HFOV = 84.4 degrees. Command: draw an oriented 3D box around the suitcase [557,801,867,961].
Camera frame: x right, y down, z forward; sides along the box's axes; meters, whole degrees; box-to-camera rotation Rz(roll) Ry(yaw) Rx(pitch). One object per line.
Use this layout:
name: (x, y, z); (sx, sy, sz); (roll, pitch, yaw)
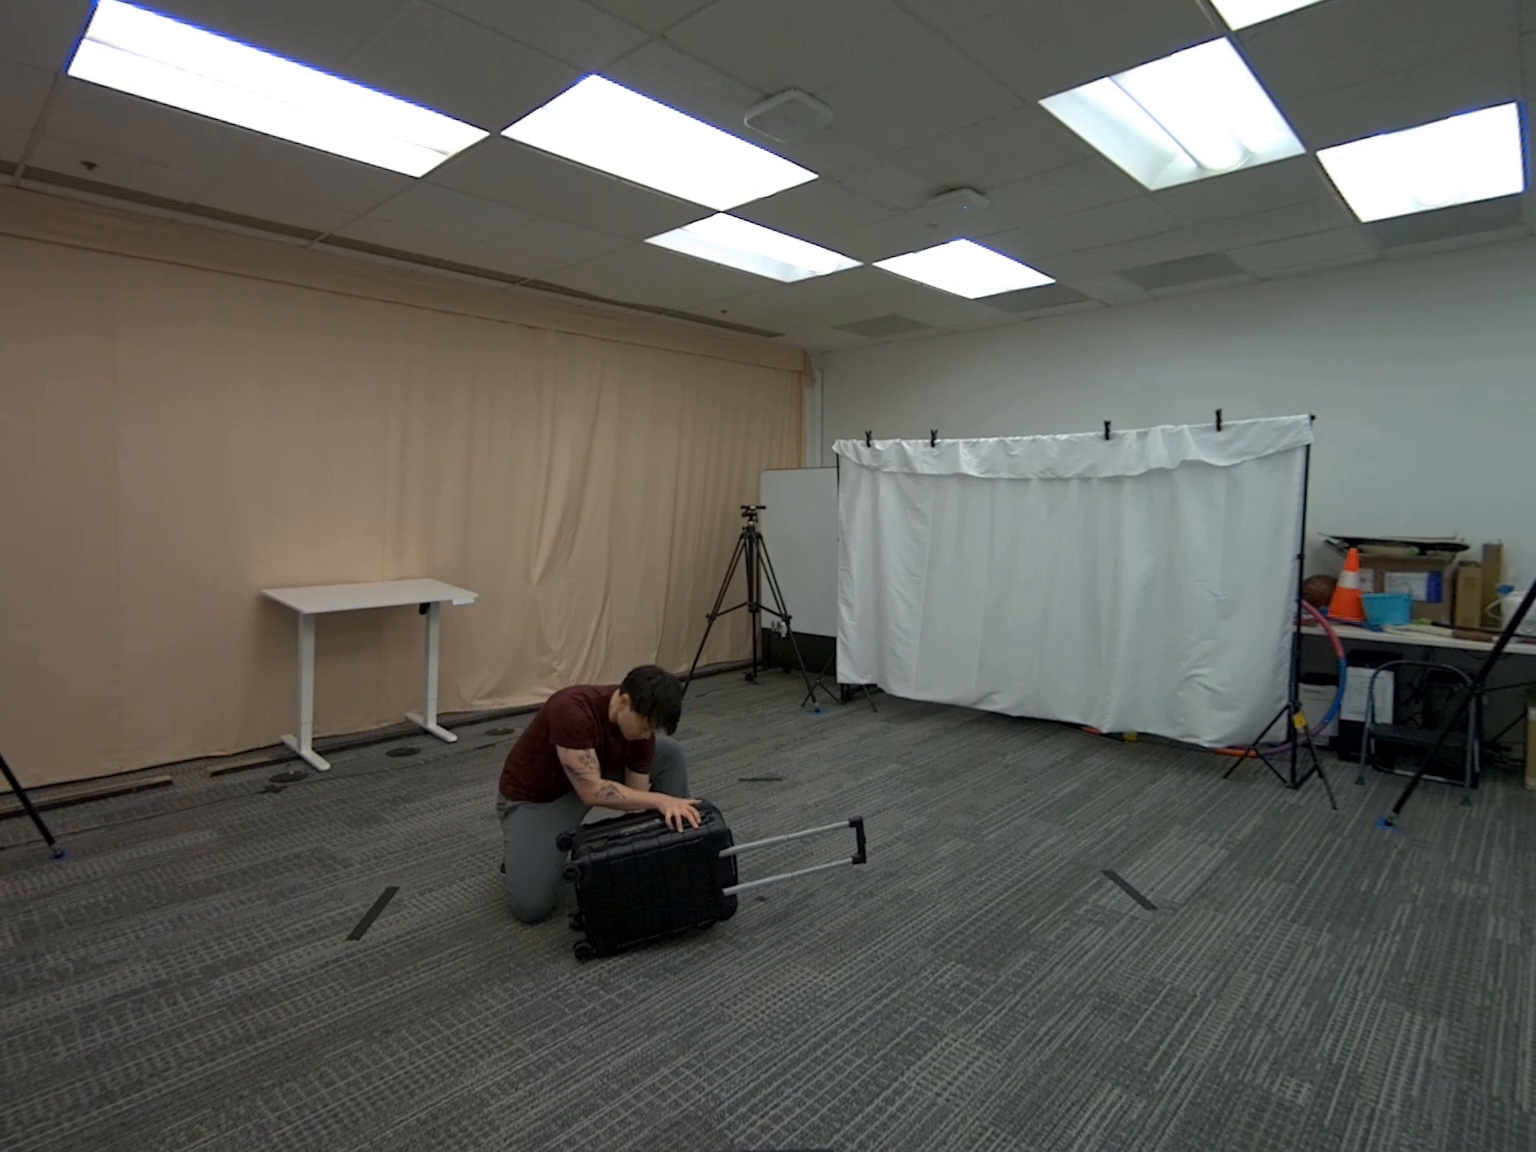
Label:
suitcase: (-0.176, 0.924, 2.765); (0.964, 0.382, 0.262); (-9, 8, -16)
